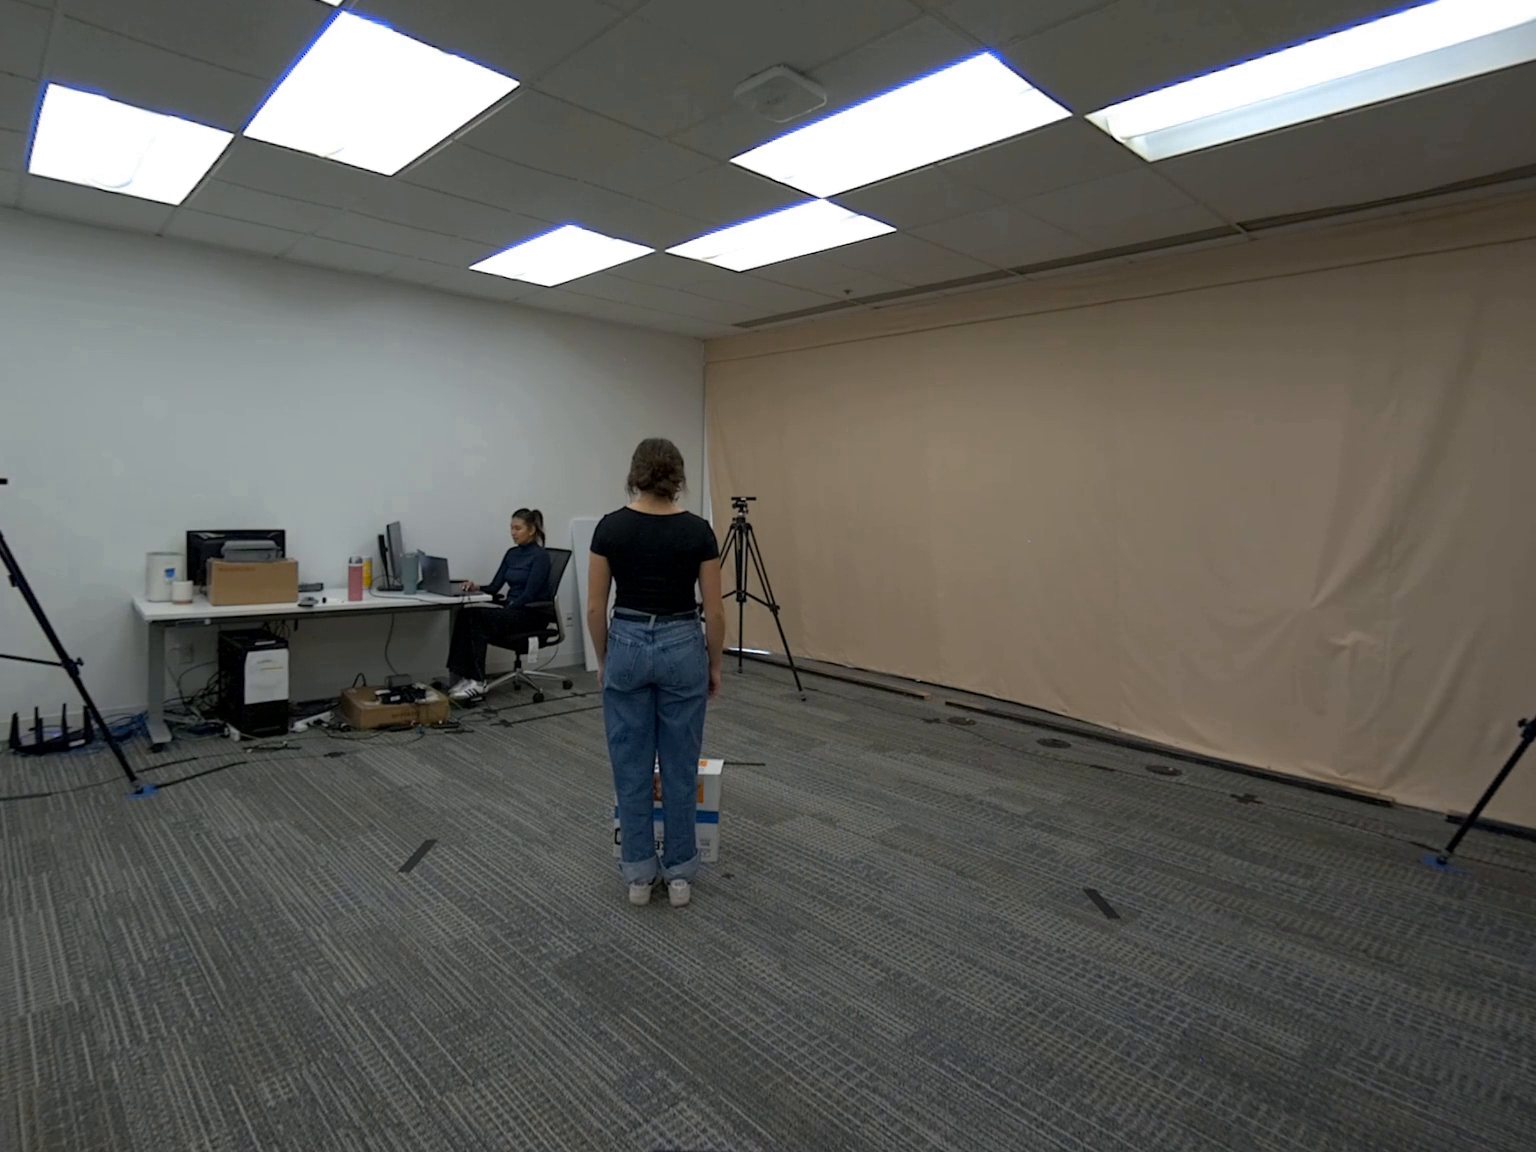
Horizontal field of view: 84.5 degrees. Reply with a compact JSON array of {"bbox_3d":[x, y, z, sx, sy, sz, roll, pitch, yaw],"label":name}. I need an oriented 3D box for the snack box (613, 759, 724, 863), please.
[{"bbox_3d":[-0.390,0.912,3.321,0.406,0.340,0.205,2,3,3],"label":"snack box"}]
